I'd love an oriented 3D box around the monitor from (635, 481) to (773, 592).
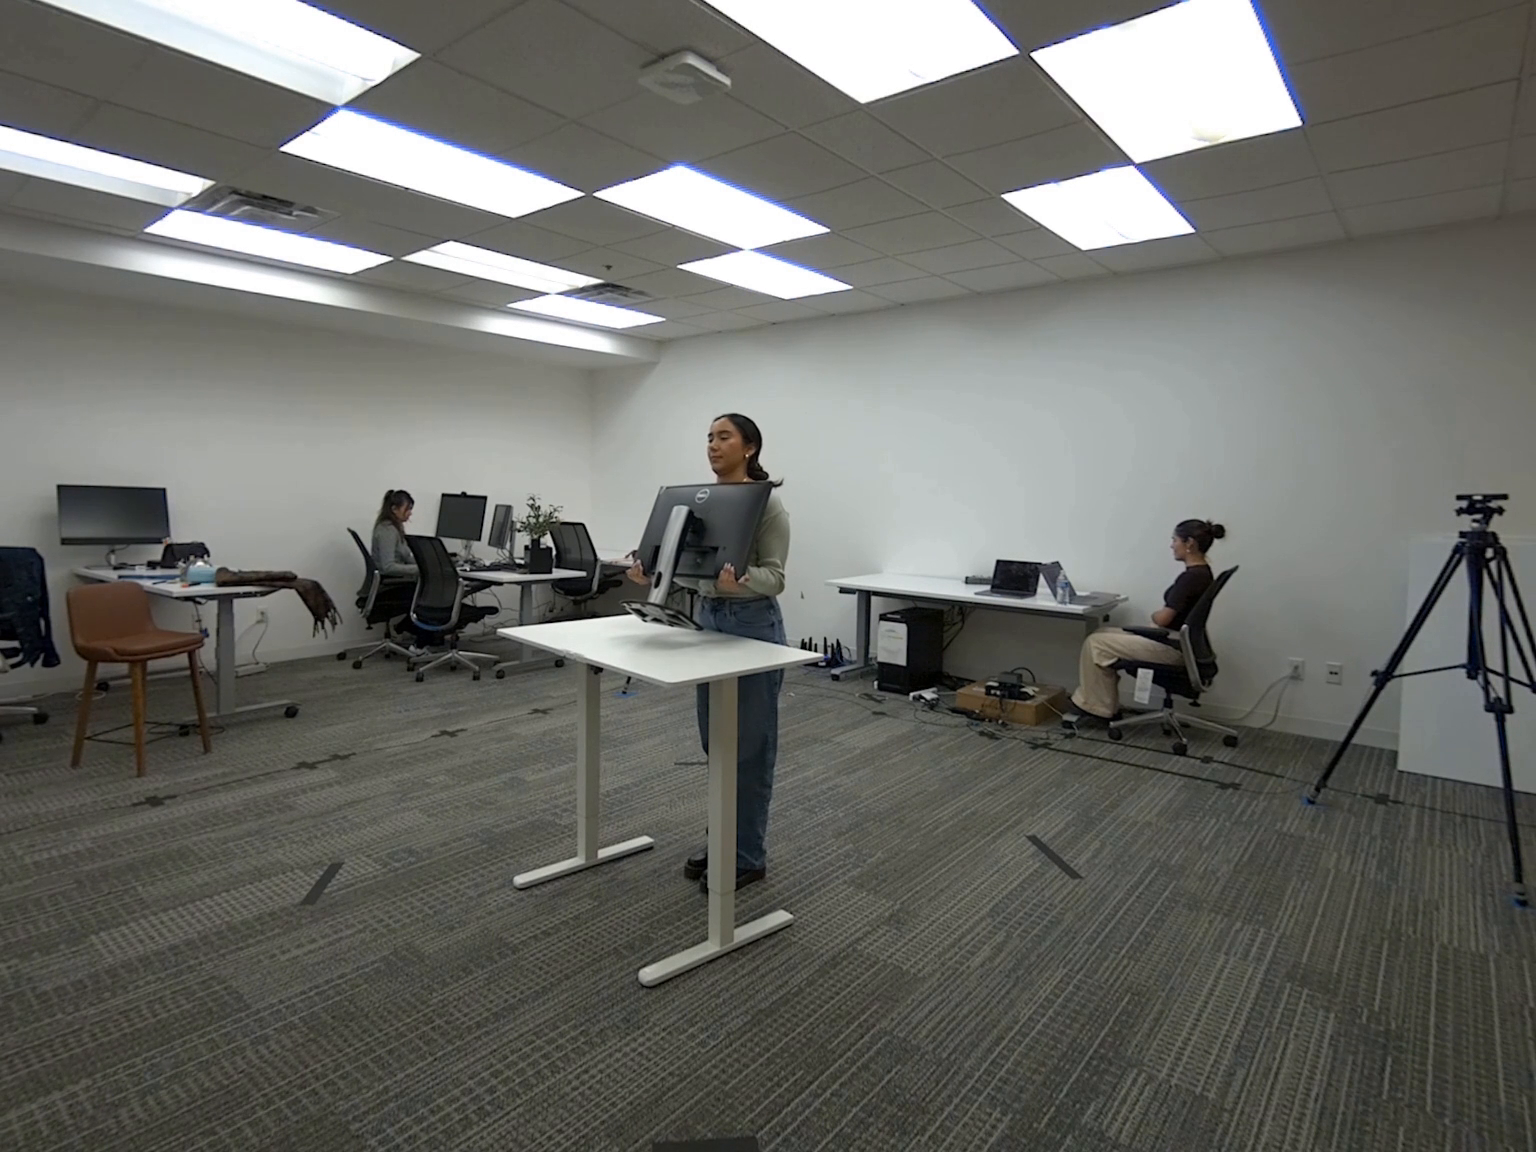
[{"bbox_3d":[-0.277,-0.091,2.844,0.557,0.527,0.179,3,-30,41],"label":"monitor"}]
